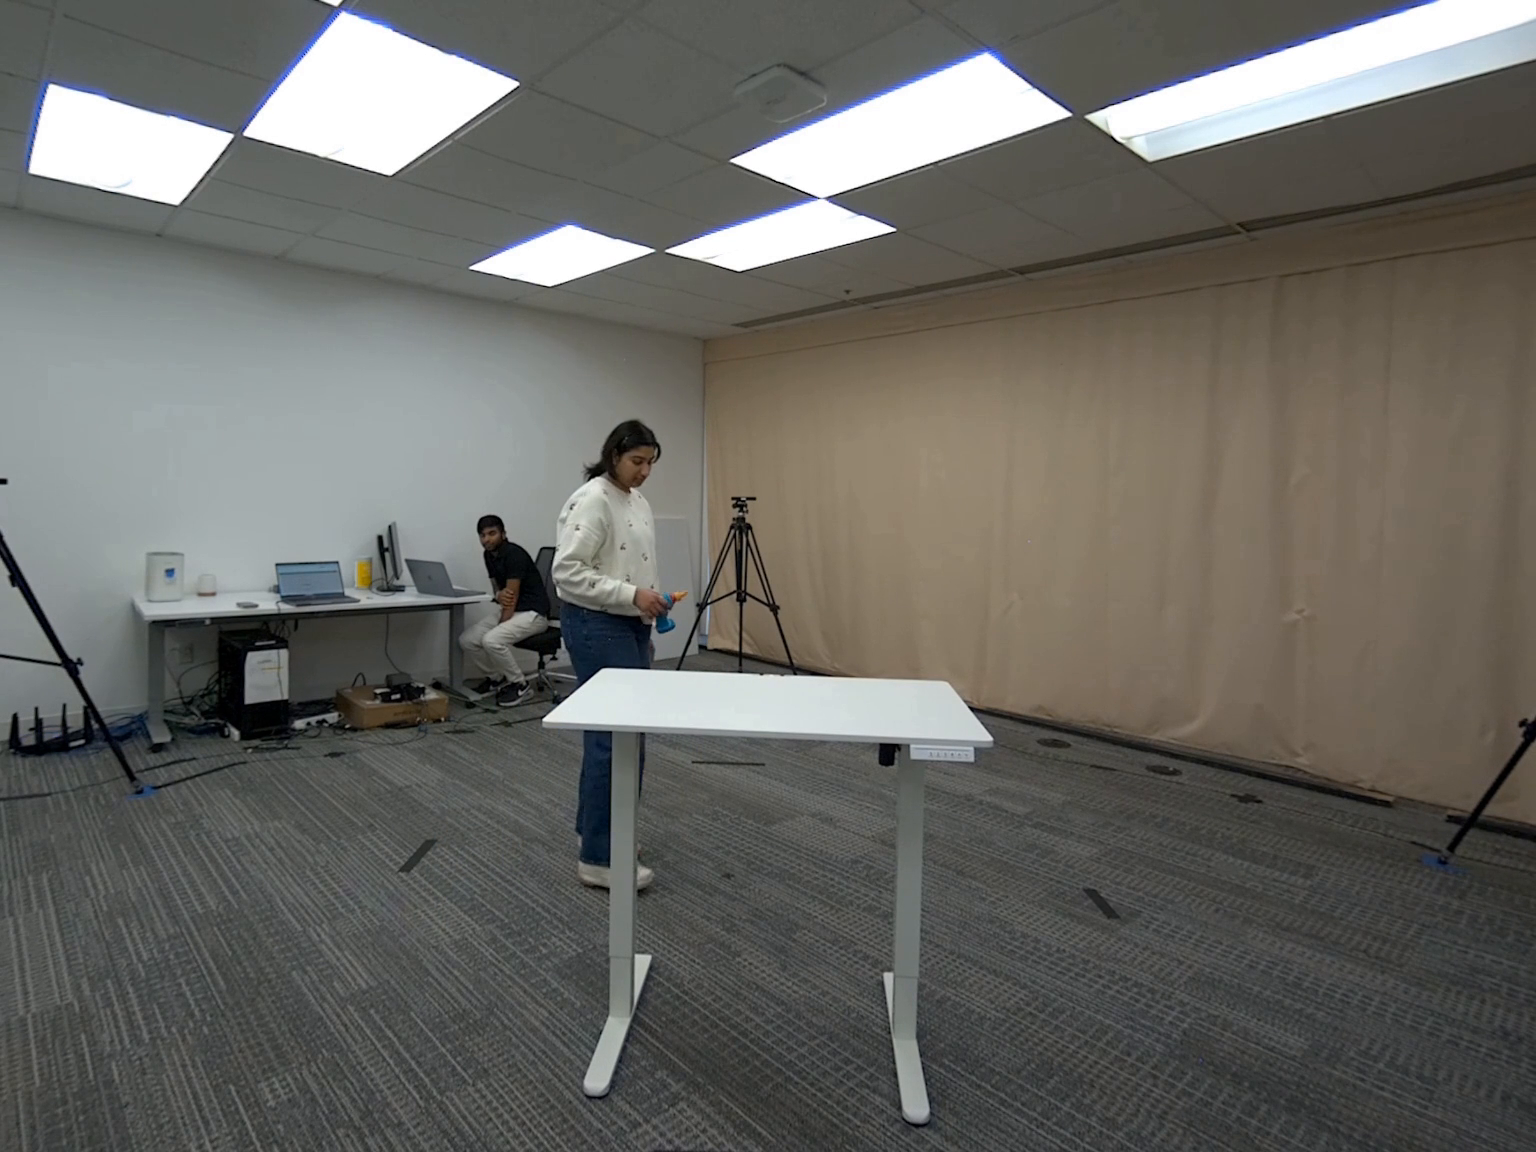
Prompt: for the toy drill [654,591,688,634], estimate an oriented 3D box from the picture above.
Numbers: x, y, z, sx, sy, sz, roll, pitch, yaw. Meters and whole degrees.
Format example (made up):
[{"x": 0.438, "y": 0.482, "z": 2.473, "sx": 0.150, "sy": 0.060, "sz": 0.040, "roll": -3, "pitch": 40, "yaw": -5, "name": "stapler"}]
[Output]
[{"x": -0.392, "y": 0.125, "z": 3.058, "sx": 0.169, "sy": 0.142, "sz": 0.063, "roll": -24, "pitch": 37, "yaw": -11, "name": "toy drill"}]
